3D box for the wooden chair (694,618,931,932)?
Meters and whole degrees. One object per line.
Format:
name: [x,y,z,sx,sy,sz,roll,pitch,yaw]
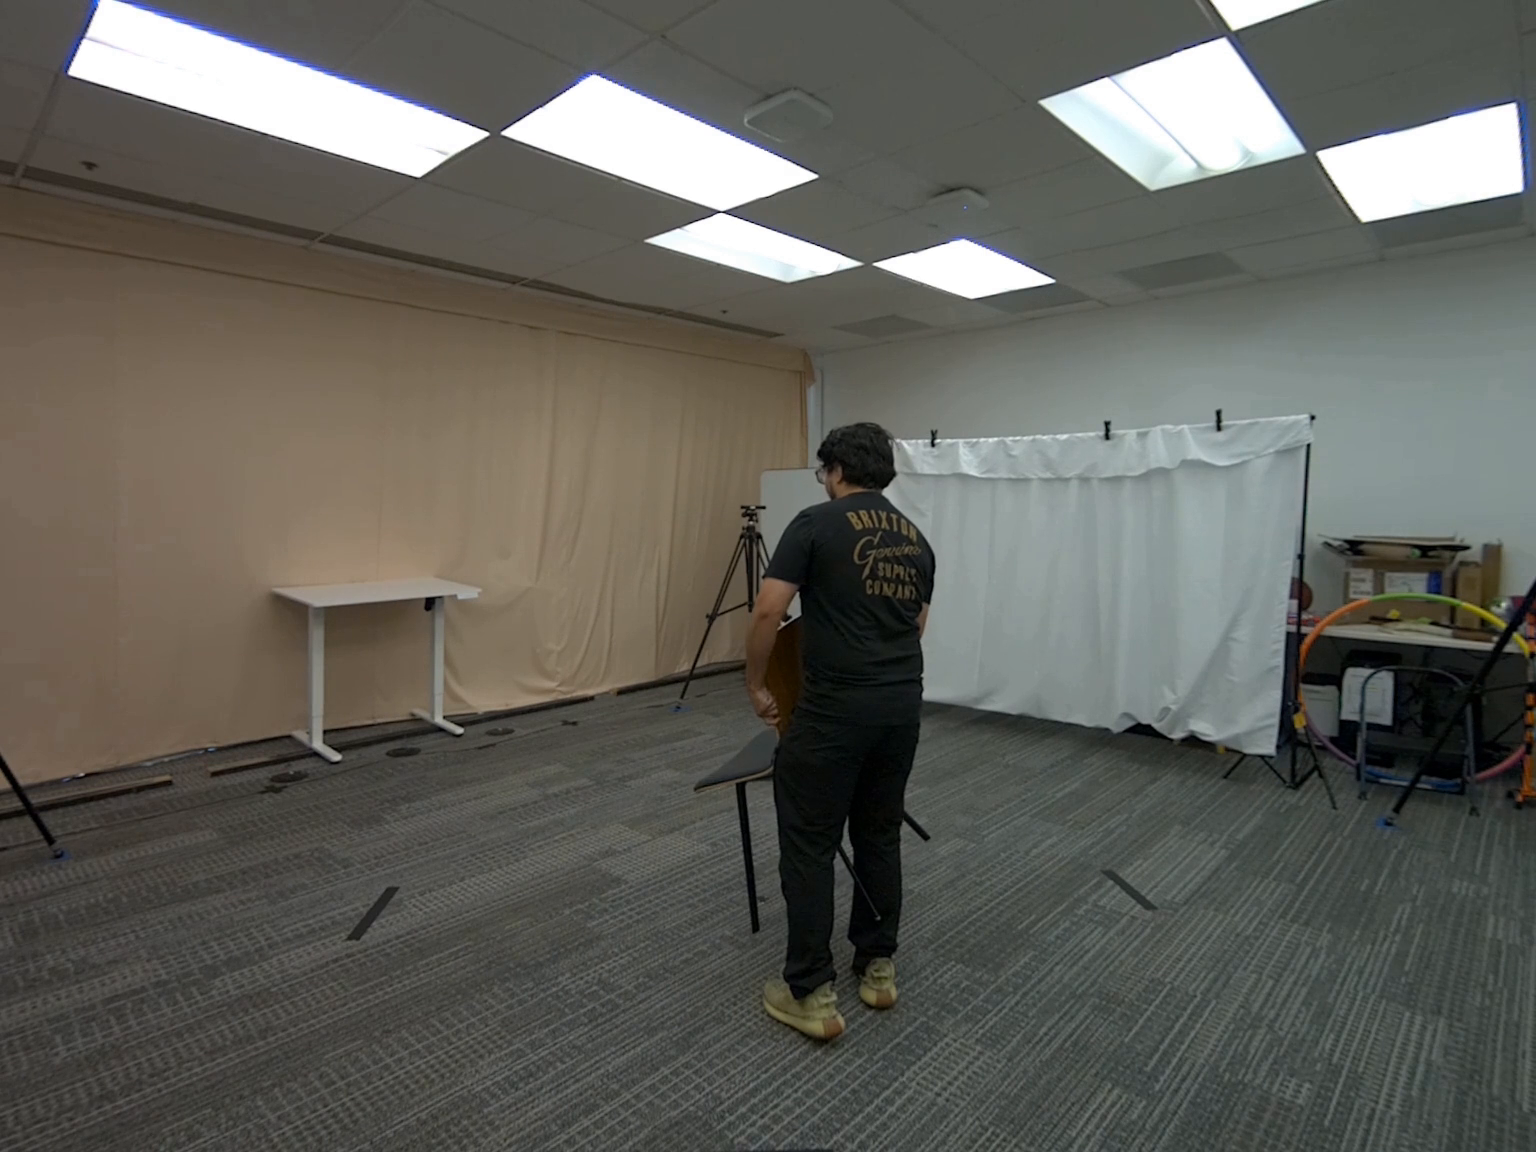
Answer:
wooden chair: [0.054,0.589,2.663,0.535,0.877,0.468,-19,1,34]
